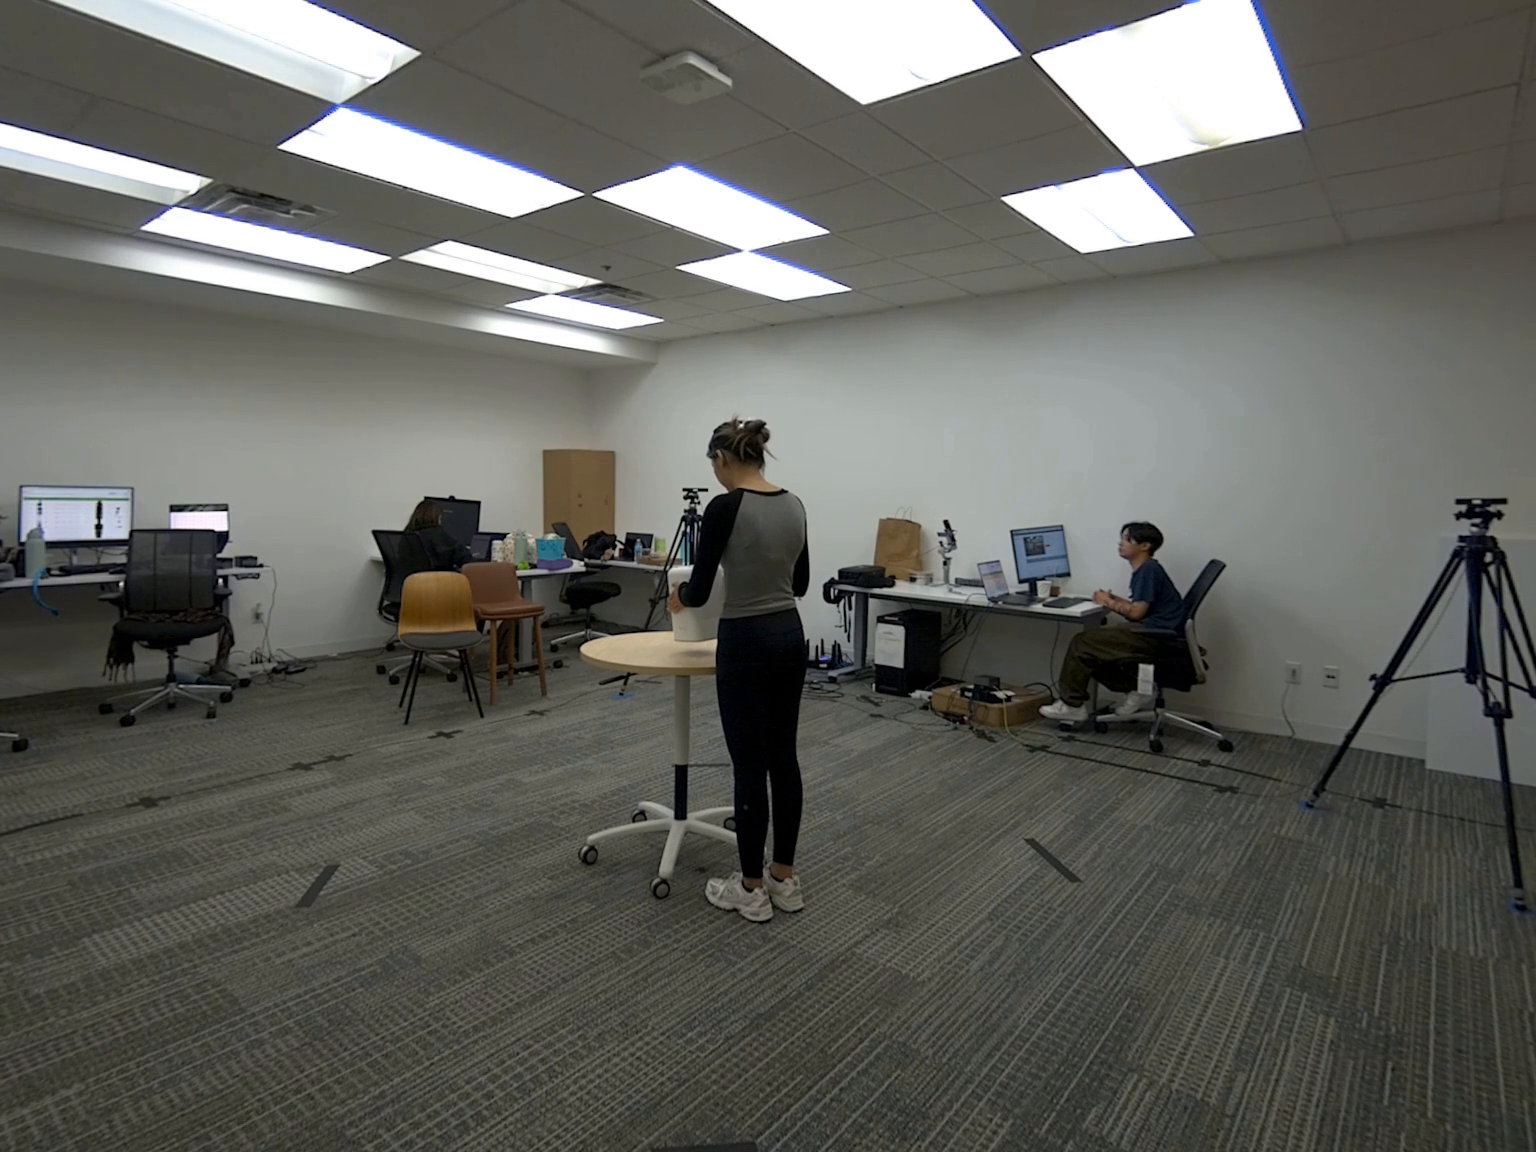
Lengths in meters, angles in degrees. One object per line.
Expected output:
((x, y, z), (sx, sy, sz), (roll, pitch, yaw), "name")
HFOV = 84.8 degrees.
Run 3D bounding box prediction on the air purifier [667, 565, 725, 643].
((-0.266, 0.090, 3.079), (0.176, 0.265, 0.167), (-3, 3, 39), "air purifier")
